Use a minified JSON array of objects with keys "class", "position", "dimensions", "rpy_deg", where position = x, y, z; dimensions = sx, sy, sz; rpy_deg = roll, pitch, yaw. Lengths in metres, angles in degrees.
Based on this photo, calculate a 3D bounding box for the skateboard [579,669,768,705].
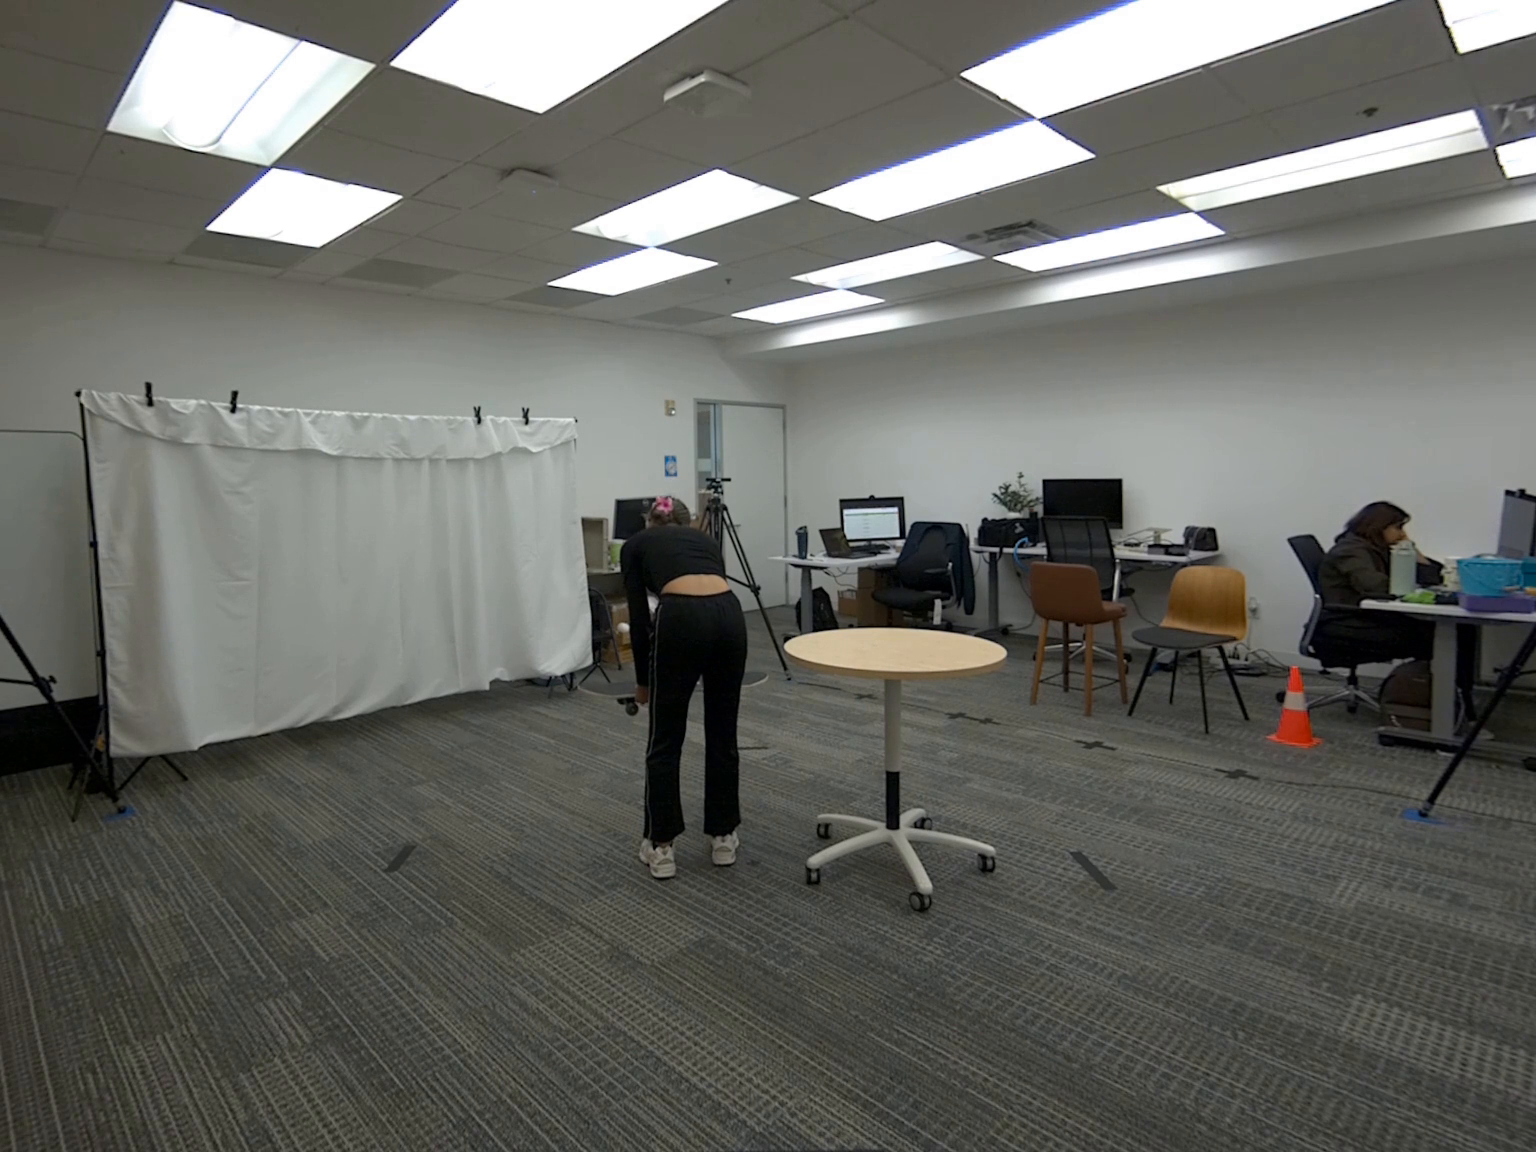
[{"class":"skateboard","position":[-0.368,0.469,3.447],"dimensions":[0.772,0.110,0.198],"rpy_deg":[-1,7,-19]}]
